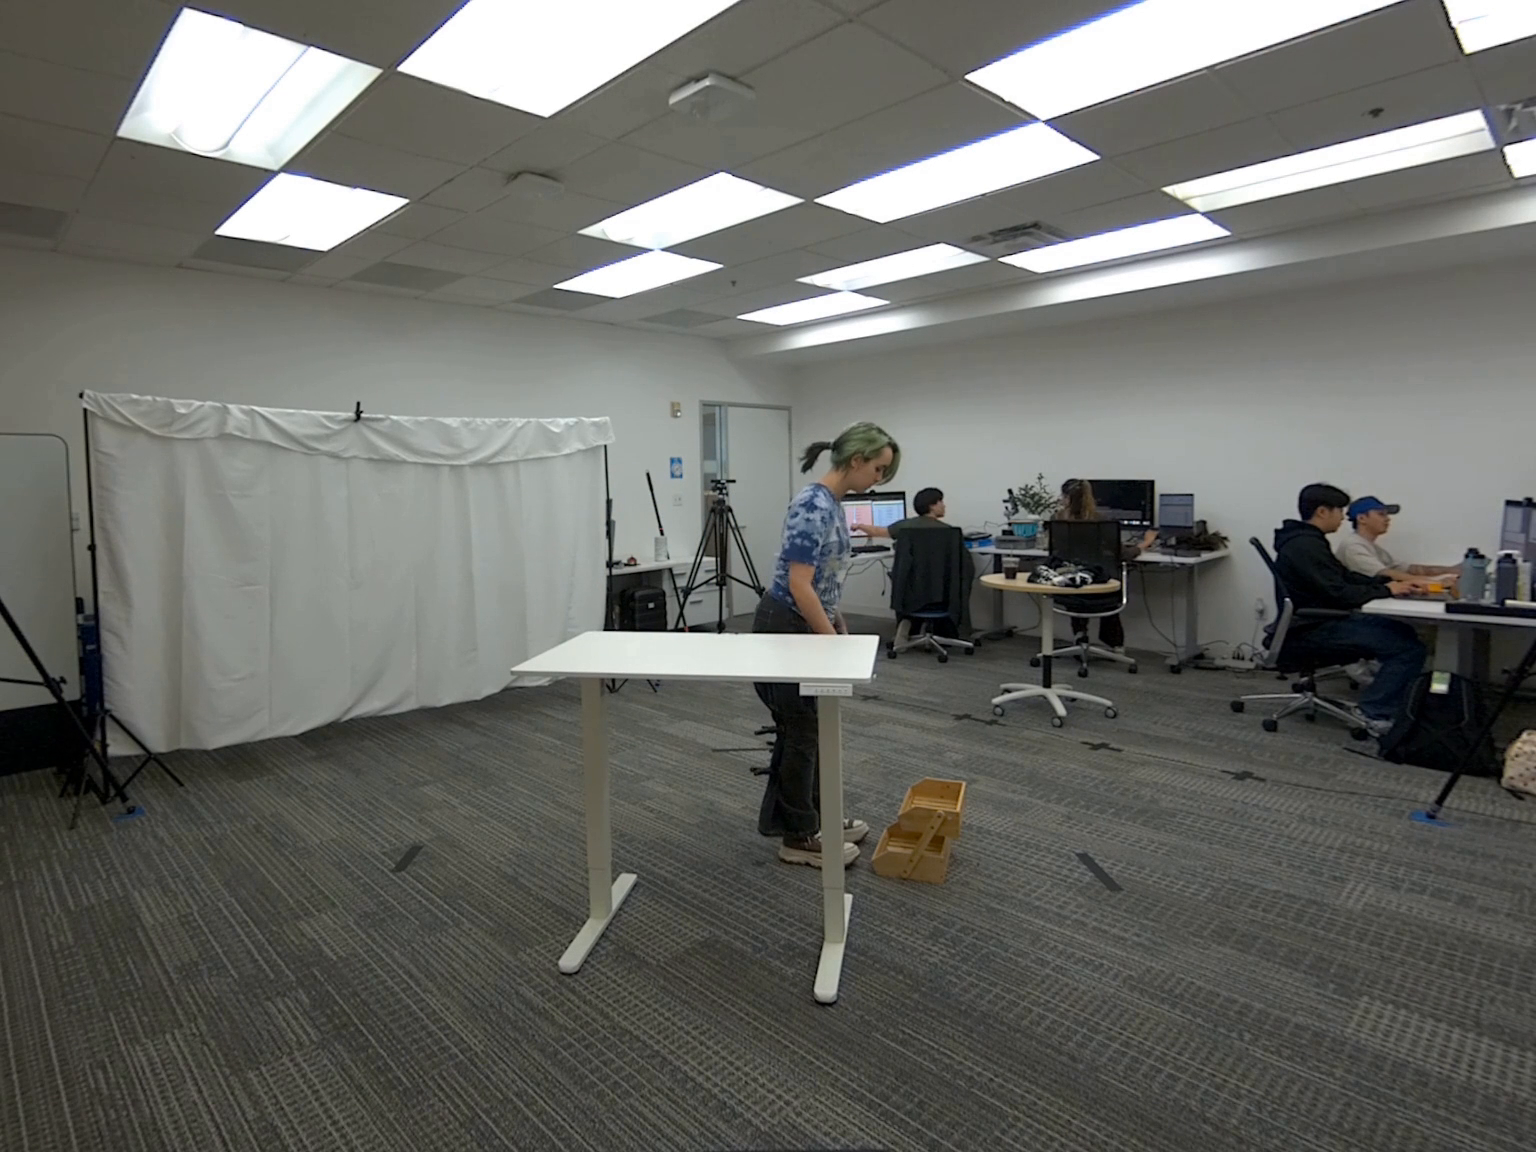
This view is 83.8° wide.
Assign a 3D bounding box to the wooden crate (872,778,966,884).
[{"bbox_3d":[0.542,0.900,3.091,0.308,0.272,0.320,1,5,19],"label":"wooden crate"}]
